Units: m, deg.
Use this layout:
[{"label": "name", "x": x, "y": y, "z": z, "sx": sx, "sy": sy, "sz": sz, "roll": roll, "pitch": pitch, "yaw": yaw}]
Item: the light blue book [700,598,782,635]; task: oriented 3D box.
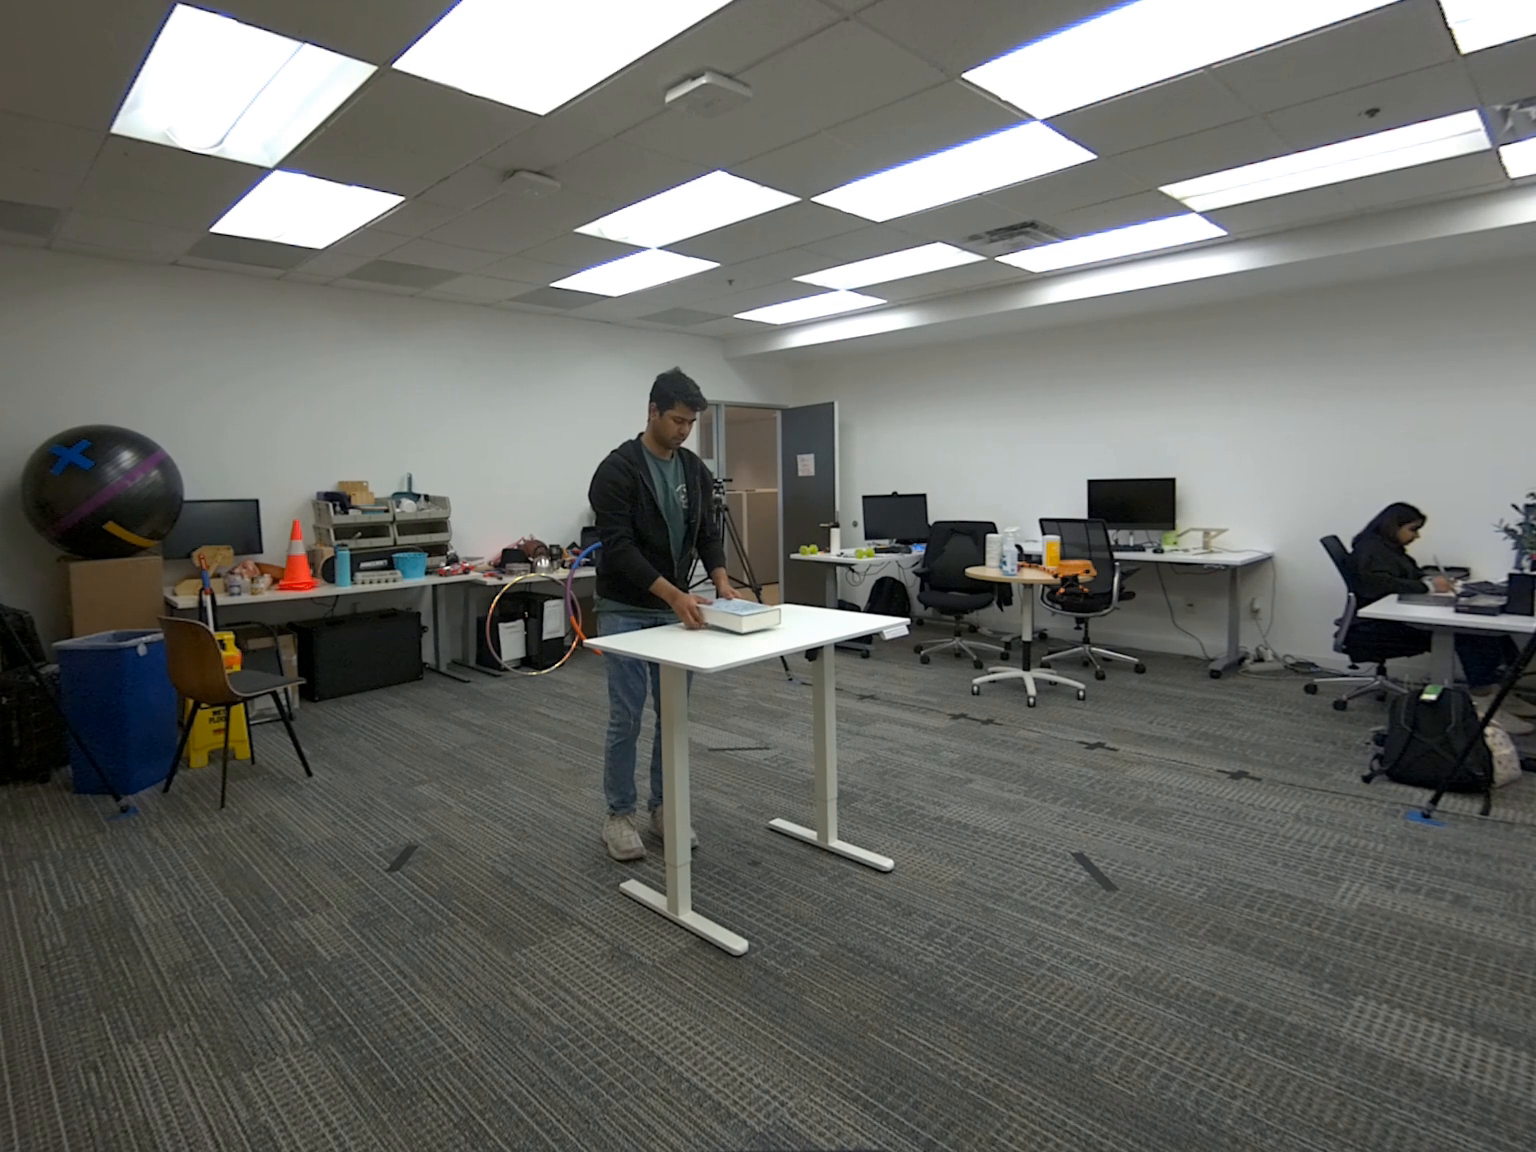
[{"label": "light blue book", "x": -0.110, "y": 0.135, "z": 2.935, "sx": 0.186, "sy": 0.058, "sz": 0.269, "roll": -8, "pitch": 11, "yaw": -43}]
